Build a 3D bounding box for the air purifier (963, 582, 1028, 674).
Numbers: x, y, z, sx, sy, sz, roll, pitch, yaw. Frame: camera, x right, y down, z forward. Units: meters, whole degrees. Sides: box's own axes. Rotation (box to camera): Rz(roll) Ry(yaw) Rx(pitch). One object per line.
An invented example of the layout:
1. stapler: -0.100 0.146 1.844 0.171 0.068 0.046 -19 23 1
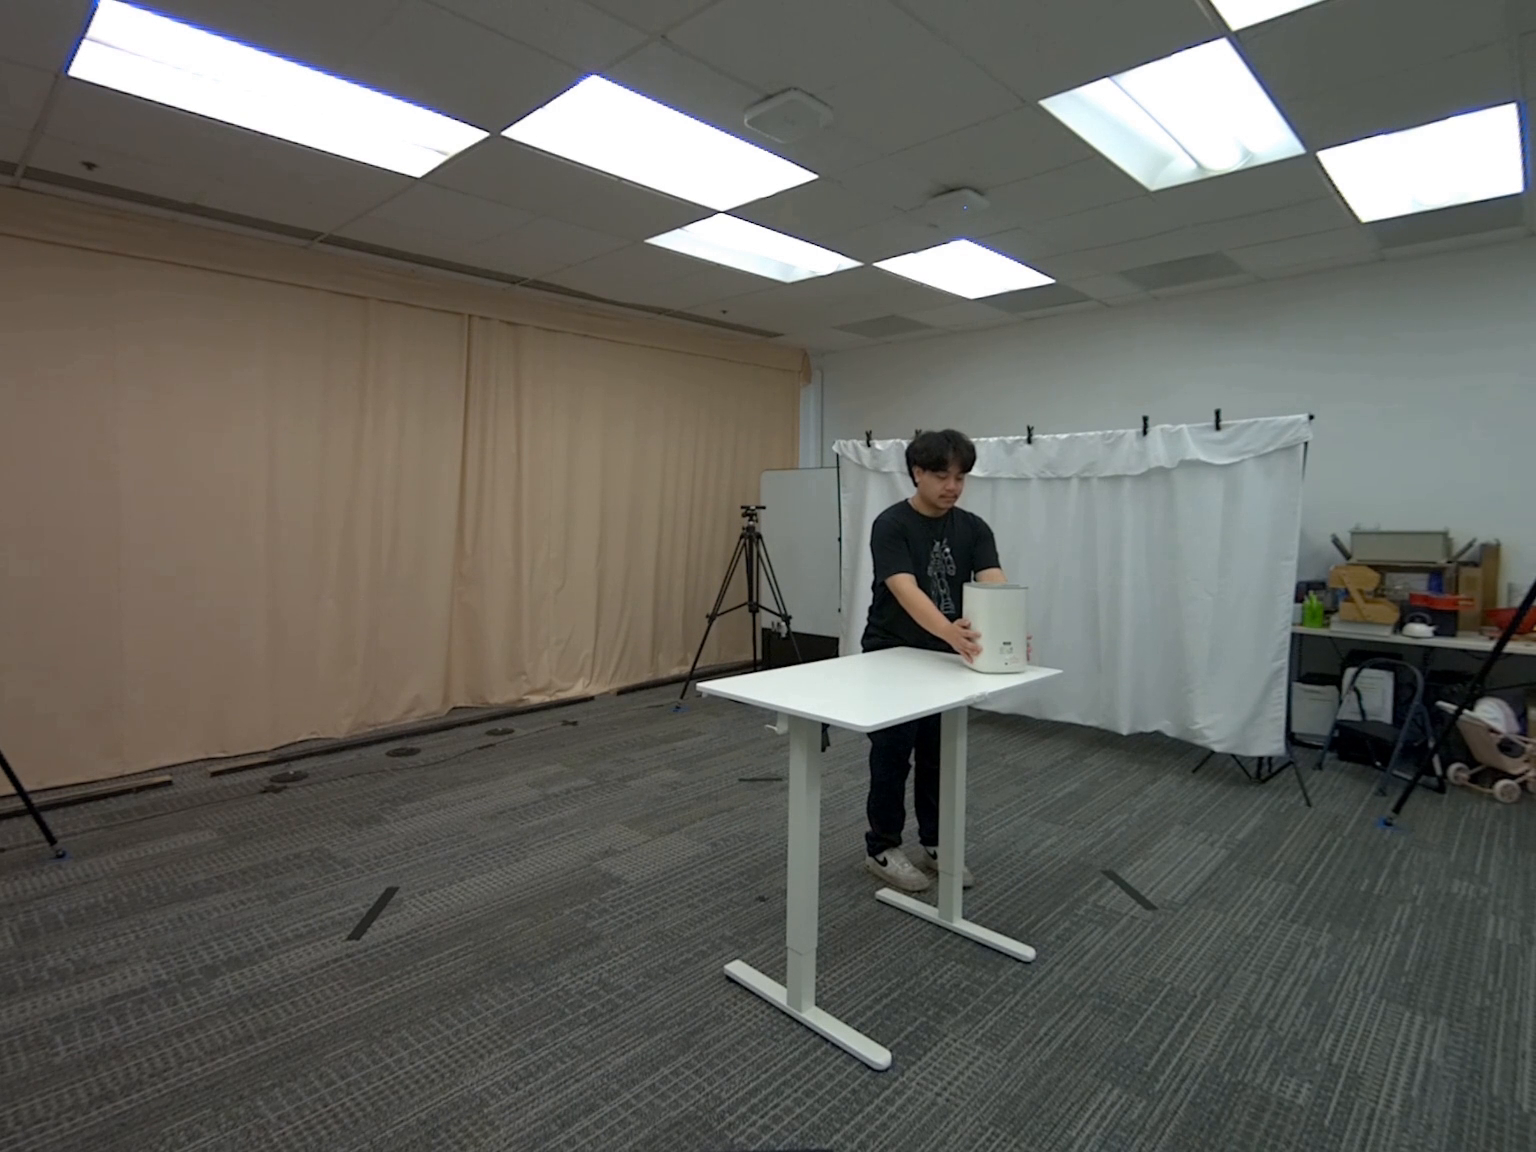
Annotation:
1. air purifier: 0.697 0.161 2.621 0.170 0.265 0.173 -1 3 -9
